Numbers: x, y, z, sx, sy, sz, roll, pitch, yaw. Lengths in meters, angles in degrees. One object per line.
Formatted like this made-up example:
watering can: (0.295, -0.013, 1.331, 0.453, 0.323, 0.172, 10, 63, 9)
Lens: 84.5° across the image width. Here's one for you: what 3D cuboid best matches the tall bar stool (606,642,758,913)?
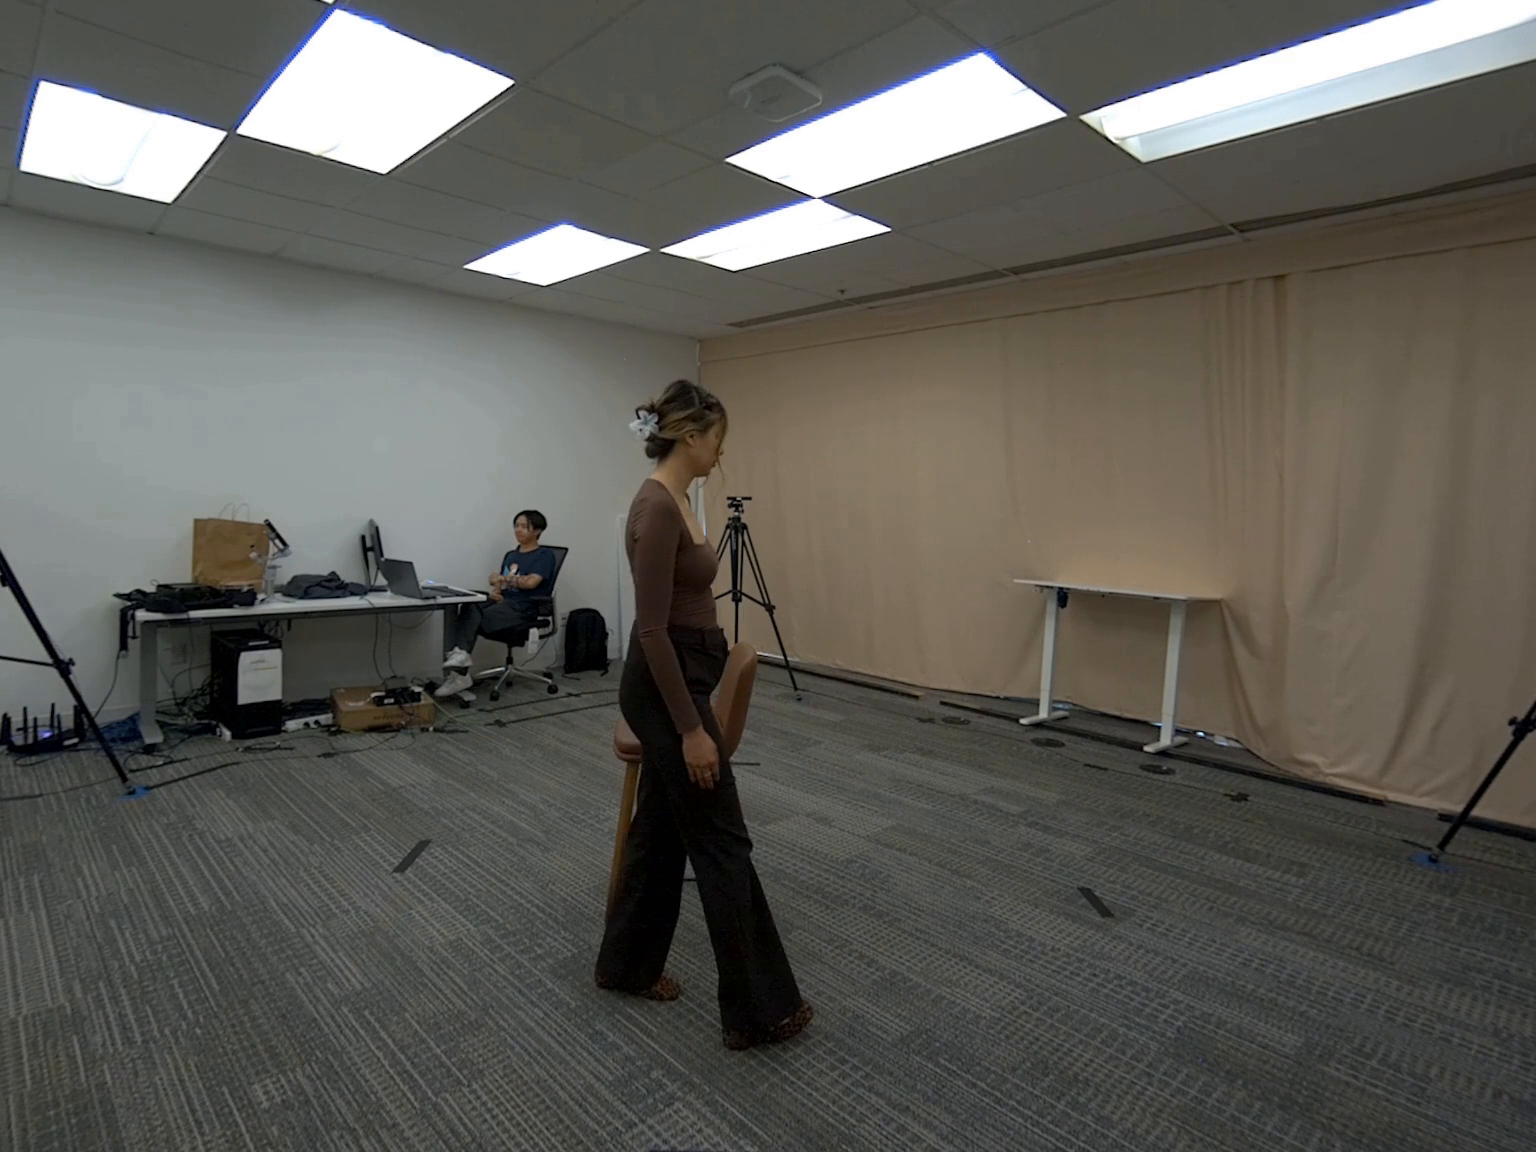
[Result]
tall bar stool: (-0.310, 0.692, 2.896, 0.466, 0.888, 0.459, 2, 3, -5)
